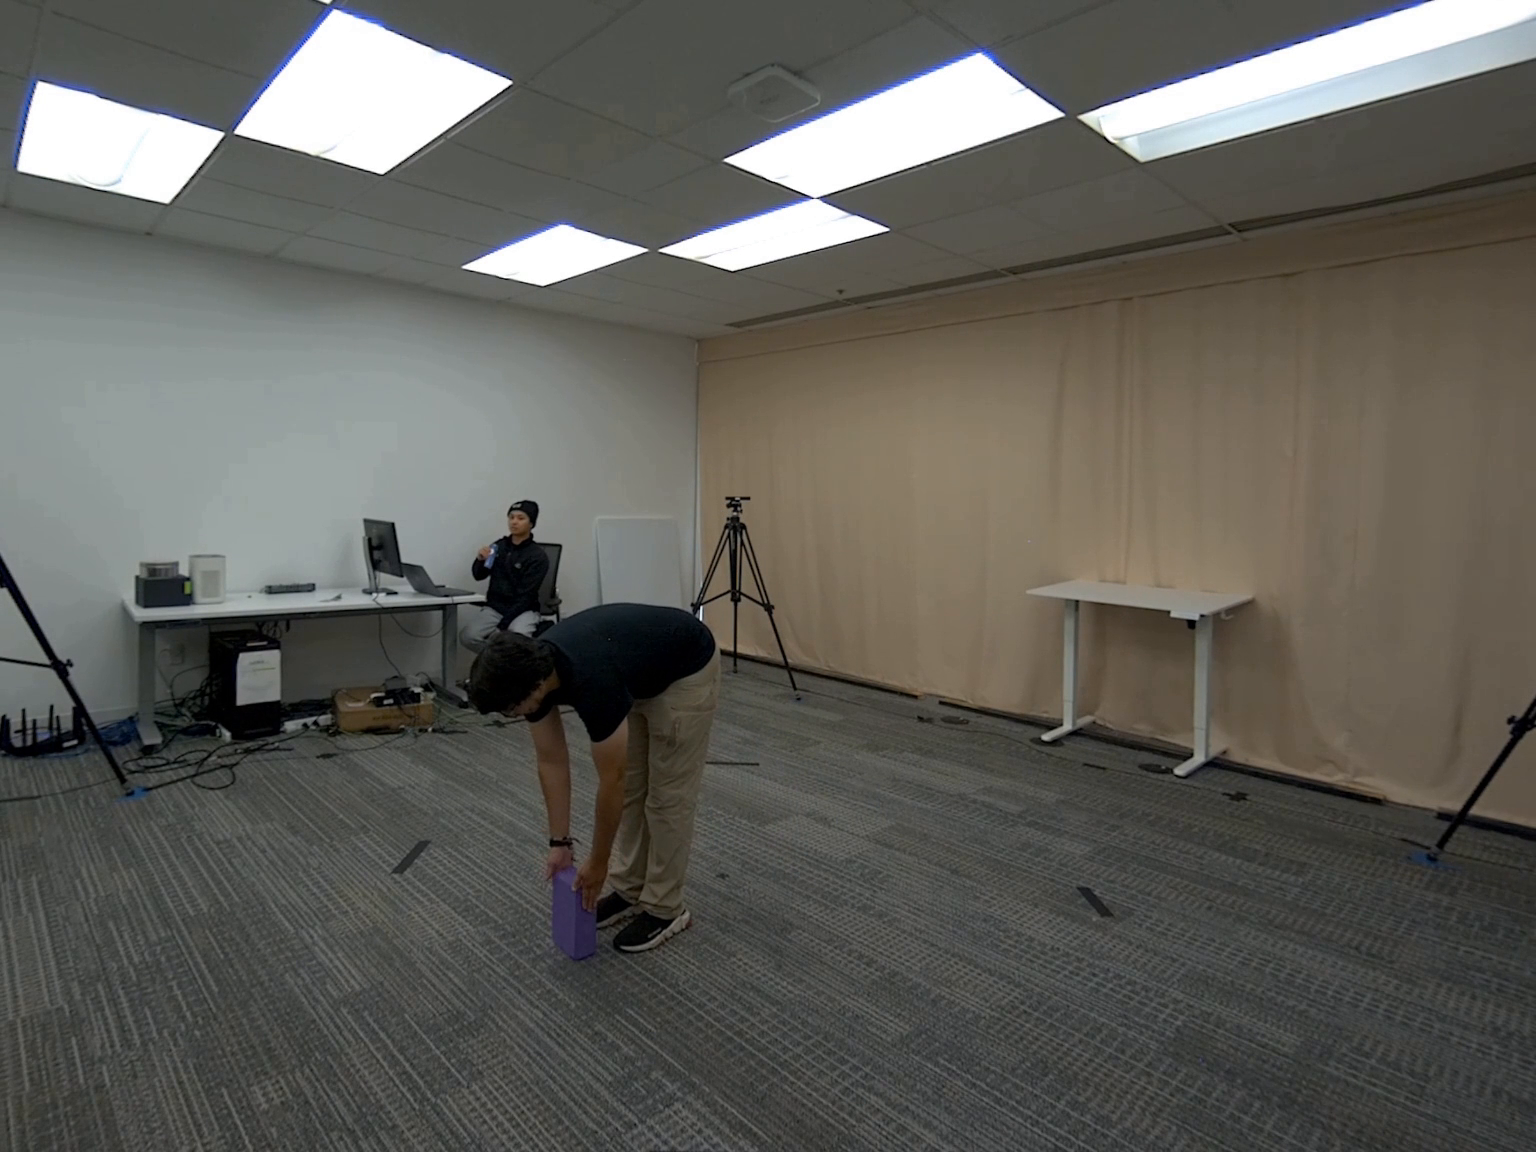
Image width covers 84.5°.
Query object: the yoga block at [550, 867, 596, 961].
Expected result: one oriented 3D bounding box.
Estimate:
[{"bbox_3d":[-0.593,1.029,2.579,0.075,0.228,0.153,-2,6,-41],"label":"yoga block"}]
